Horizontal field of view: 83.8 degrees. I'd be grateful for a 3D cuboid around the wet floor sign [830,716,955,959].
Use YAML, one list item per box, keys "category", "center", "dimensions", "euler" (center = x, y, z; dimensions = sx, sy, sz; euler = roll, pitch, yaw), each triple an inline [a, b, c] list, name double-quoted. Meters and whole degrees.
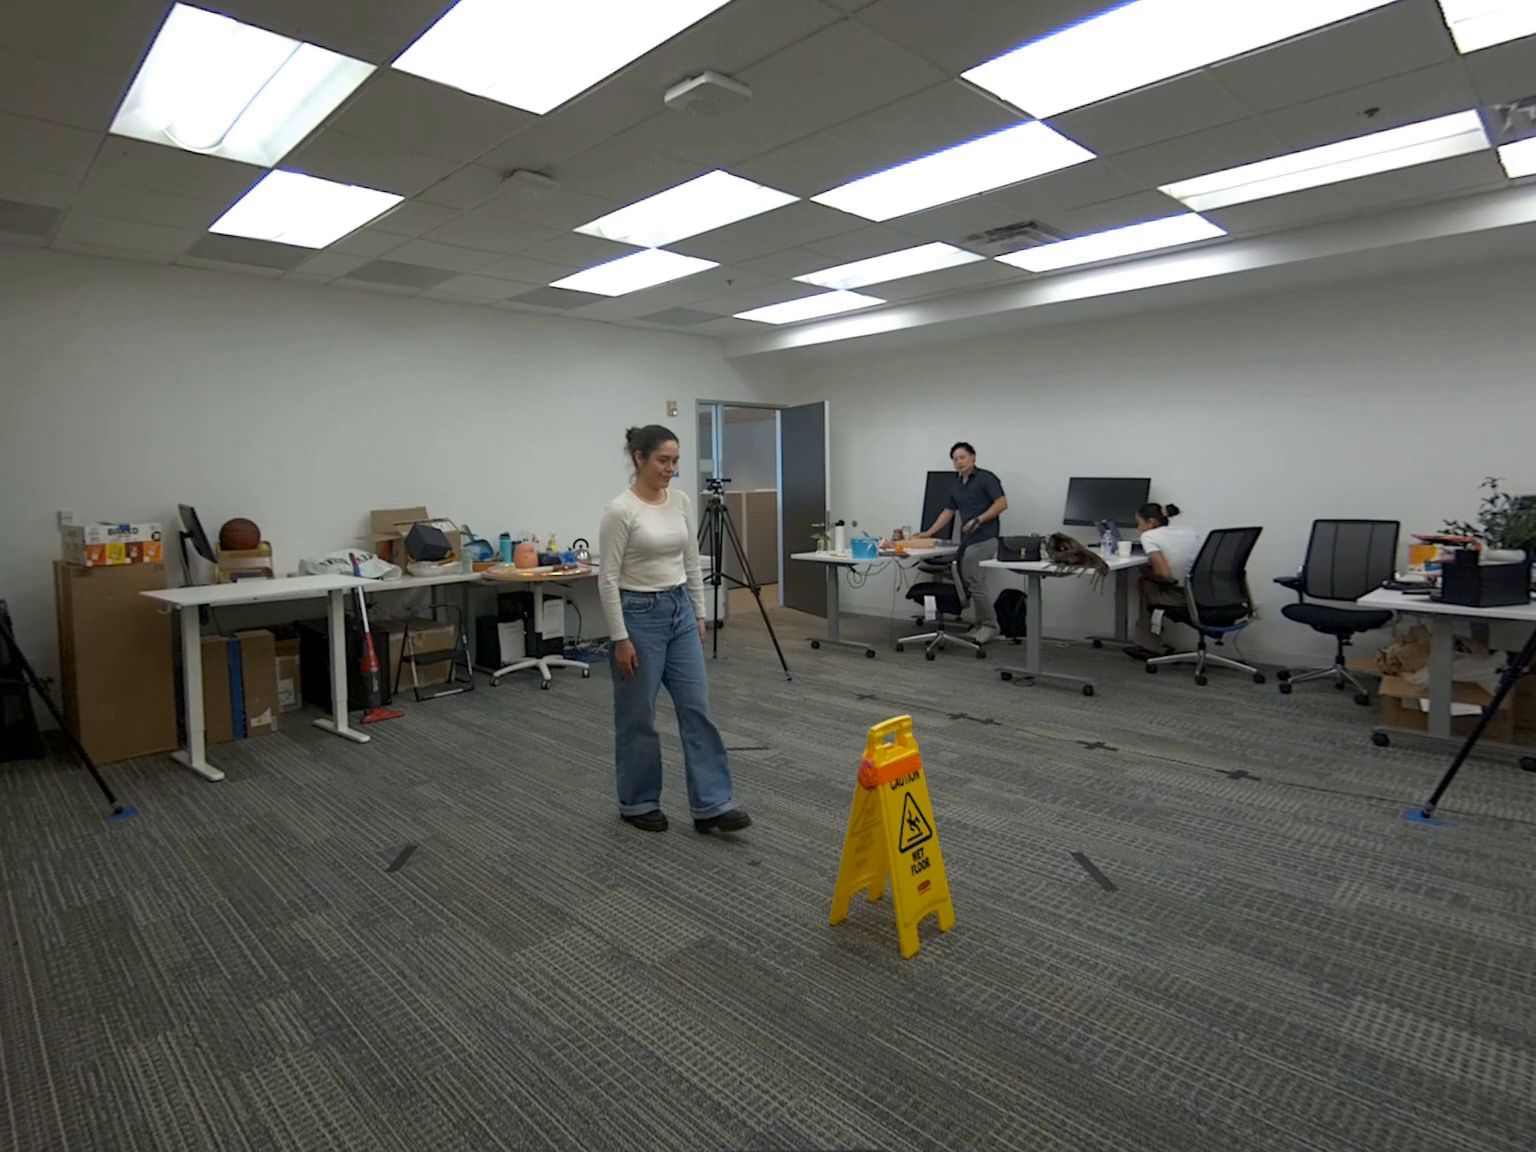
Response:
- category: "wet floor sign"
  center: [0.387, 0.767, 2.642]
  dimensions: [0.299, 0.643, 0.275]
  euler: [4, 7, 44]
